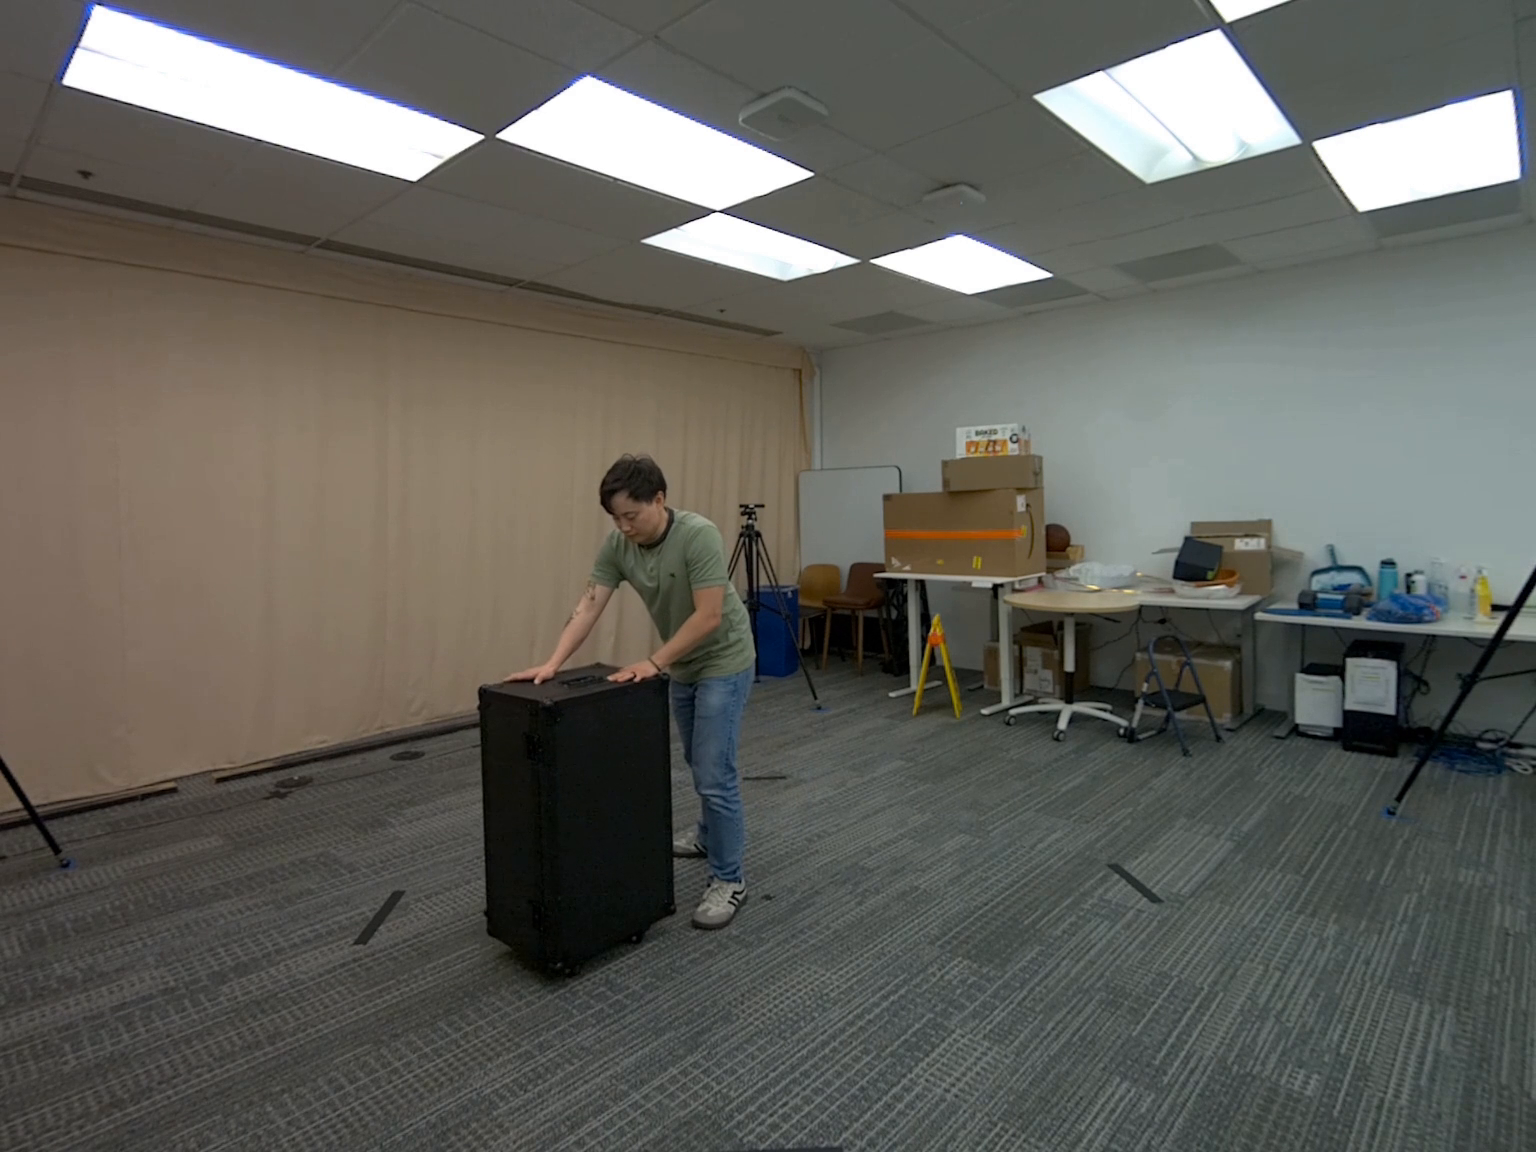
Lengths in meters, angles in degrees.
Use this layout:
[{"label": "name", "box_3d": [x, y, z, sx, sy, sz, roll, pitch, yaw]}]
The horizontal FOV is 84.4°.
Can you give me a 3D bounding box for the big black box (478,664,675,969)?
[{"label": "big black box", "box_3d": [-0.611, 0.759, 2.665, 0.409, 0.860, 0.505, 1, 4, 41]}]
